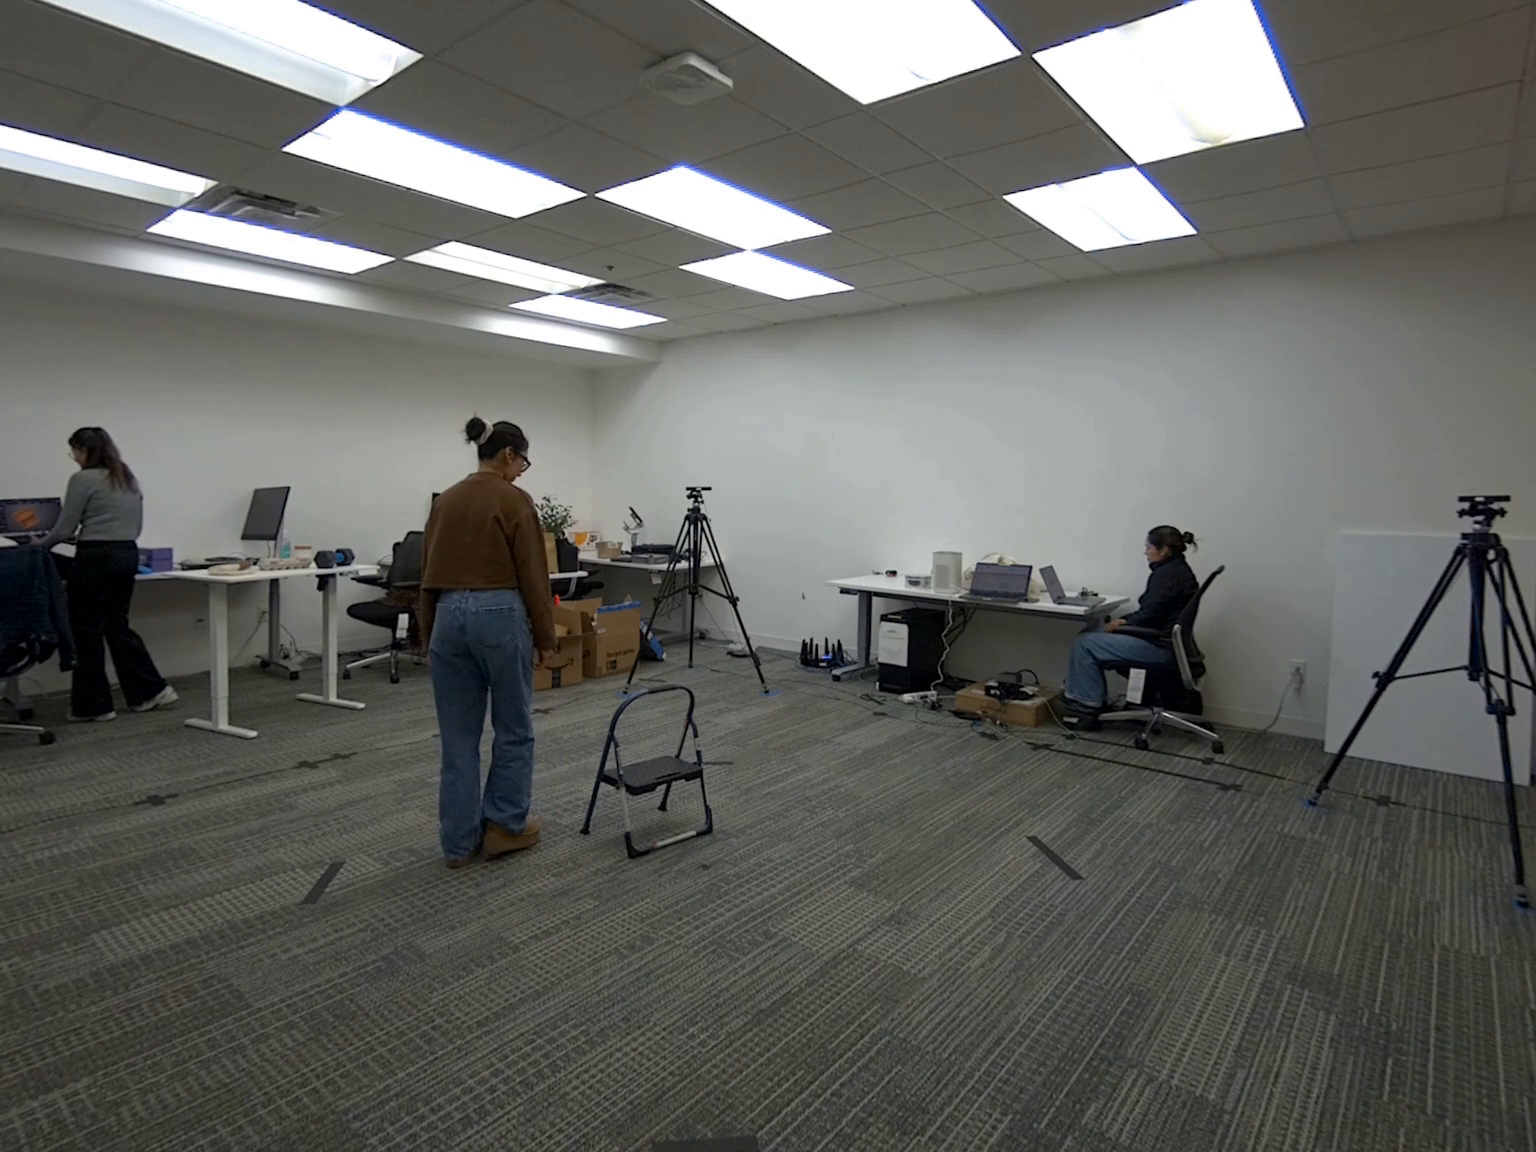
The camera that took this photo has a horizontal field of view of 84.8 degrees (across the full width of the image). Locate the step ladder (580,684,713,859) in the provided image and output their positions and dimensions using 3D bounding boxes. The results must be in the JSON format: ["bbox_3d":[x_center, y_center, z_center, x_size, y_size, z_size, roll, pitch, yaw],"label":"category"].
[{"bbox_3d":[-0.491,0.731,3.412,0.417,0.604,0.361,-3,5,-44],"label":"step ladder"}]
